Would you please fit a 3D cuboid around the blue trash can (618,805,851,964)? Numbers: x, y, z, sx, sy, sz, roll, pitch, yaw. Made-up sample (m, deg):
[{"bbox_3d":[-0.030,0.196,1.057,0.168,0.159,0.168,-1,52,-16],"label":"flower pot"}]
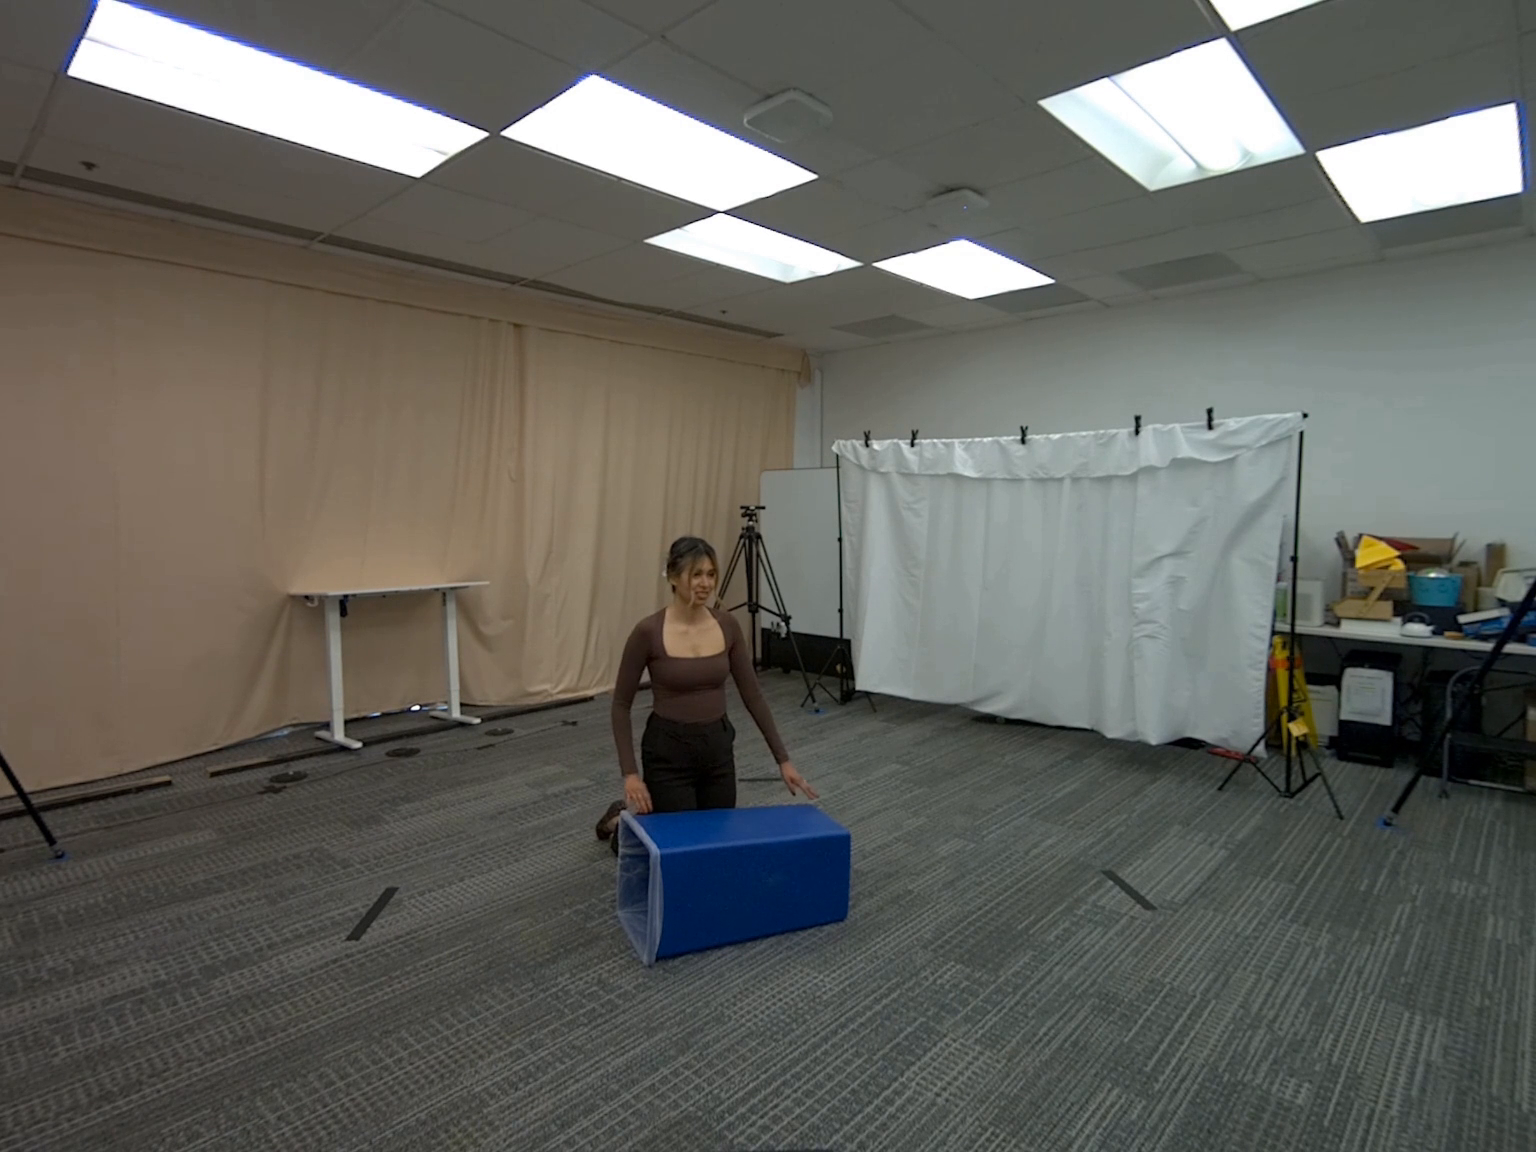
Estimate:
[{"bbox_3d":[-0.103,0.988,2.814,0.698,0.377,0.383,0,3,-22],"label":"blue trash can"}]
